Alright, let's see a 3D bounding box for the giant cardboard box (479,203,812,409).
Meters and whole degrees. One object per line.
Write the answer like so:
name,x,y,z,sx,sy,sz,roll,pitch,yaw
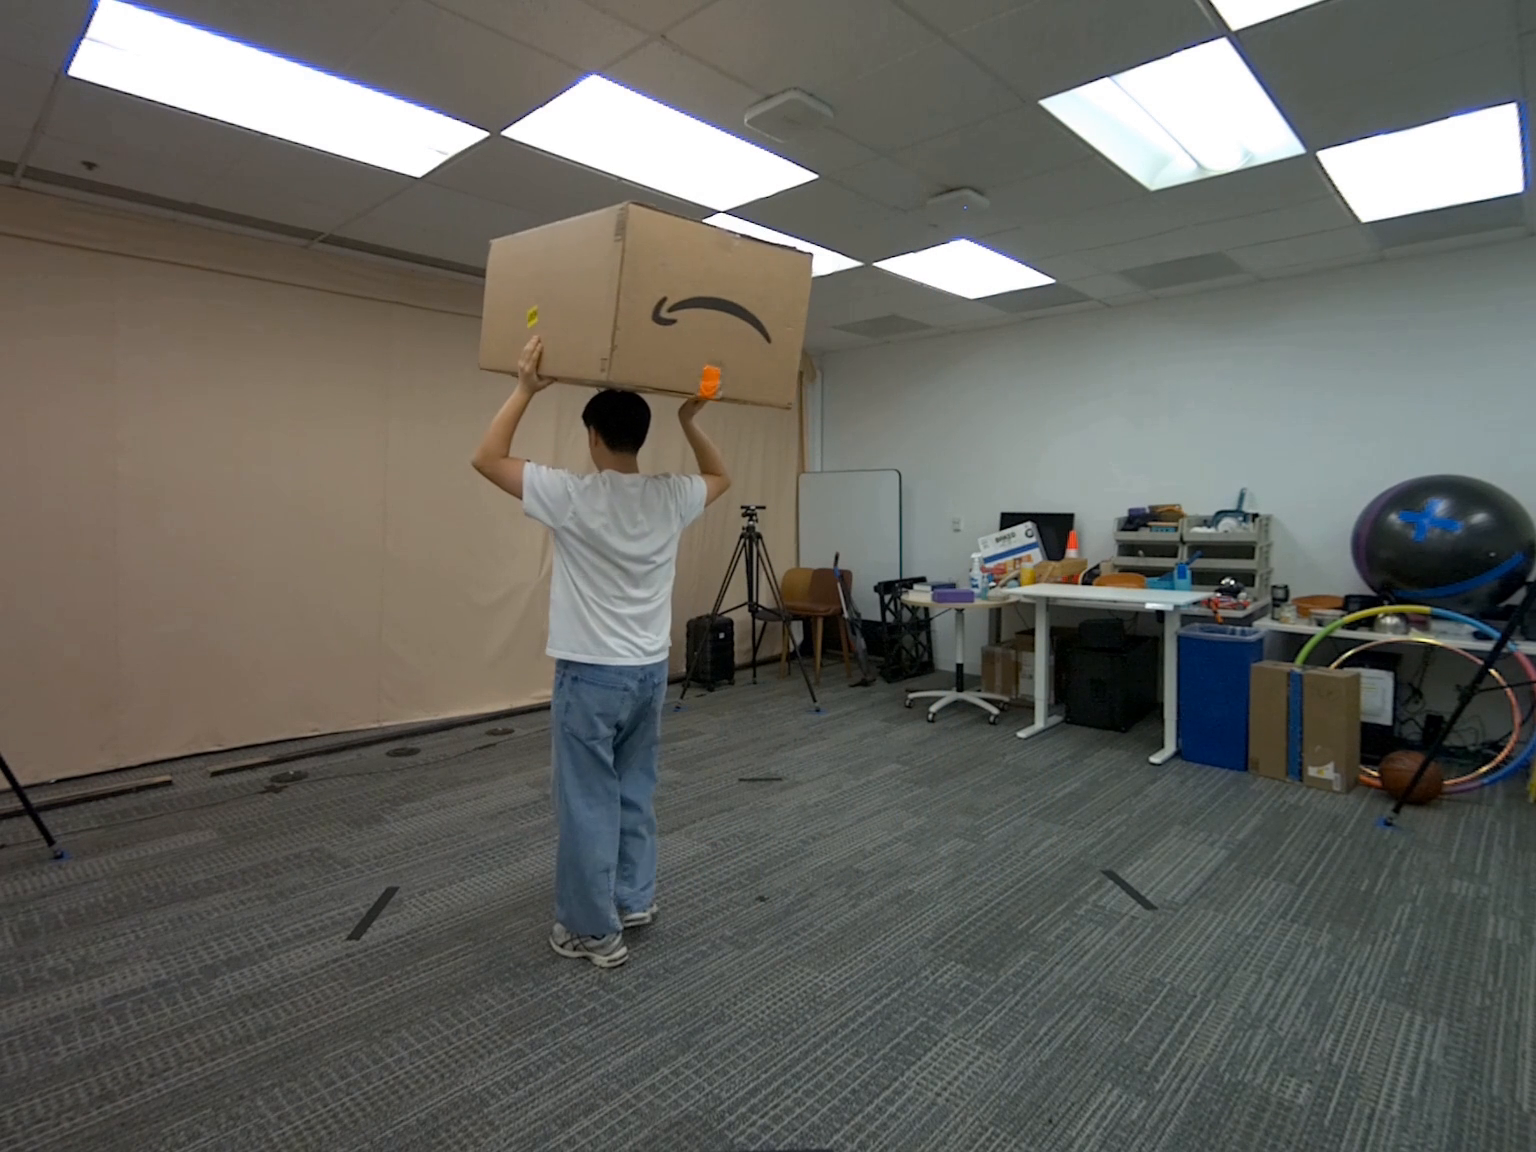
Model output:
giant cardboard box,-0.424,-0.778,2.569,0.560,0.424,1.062,1,13,-35
